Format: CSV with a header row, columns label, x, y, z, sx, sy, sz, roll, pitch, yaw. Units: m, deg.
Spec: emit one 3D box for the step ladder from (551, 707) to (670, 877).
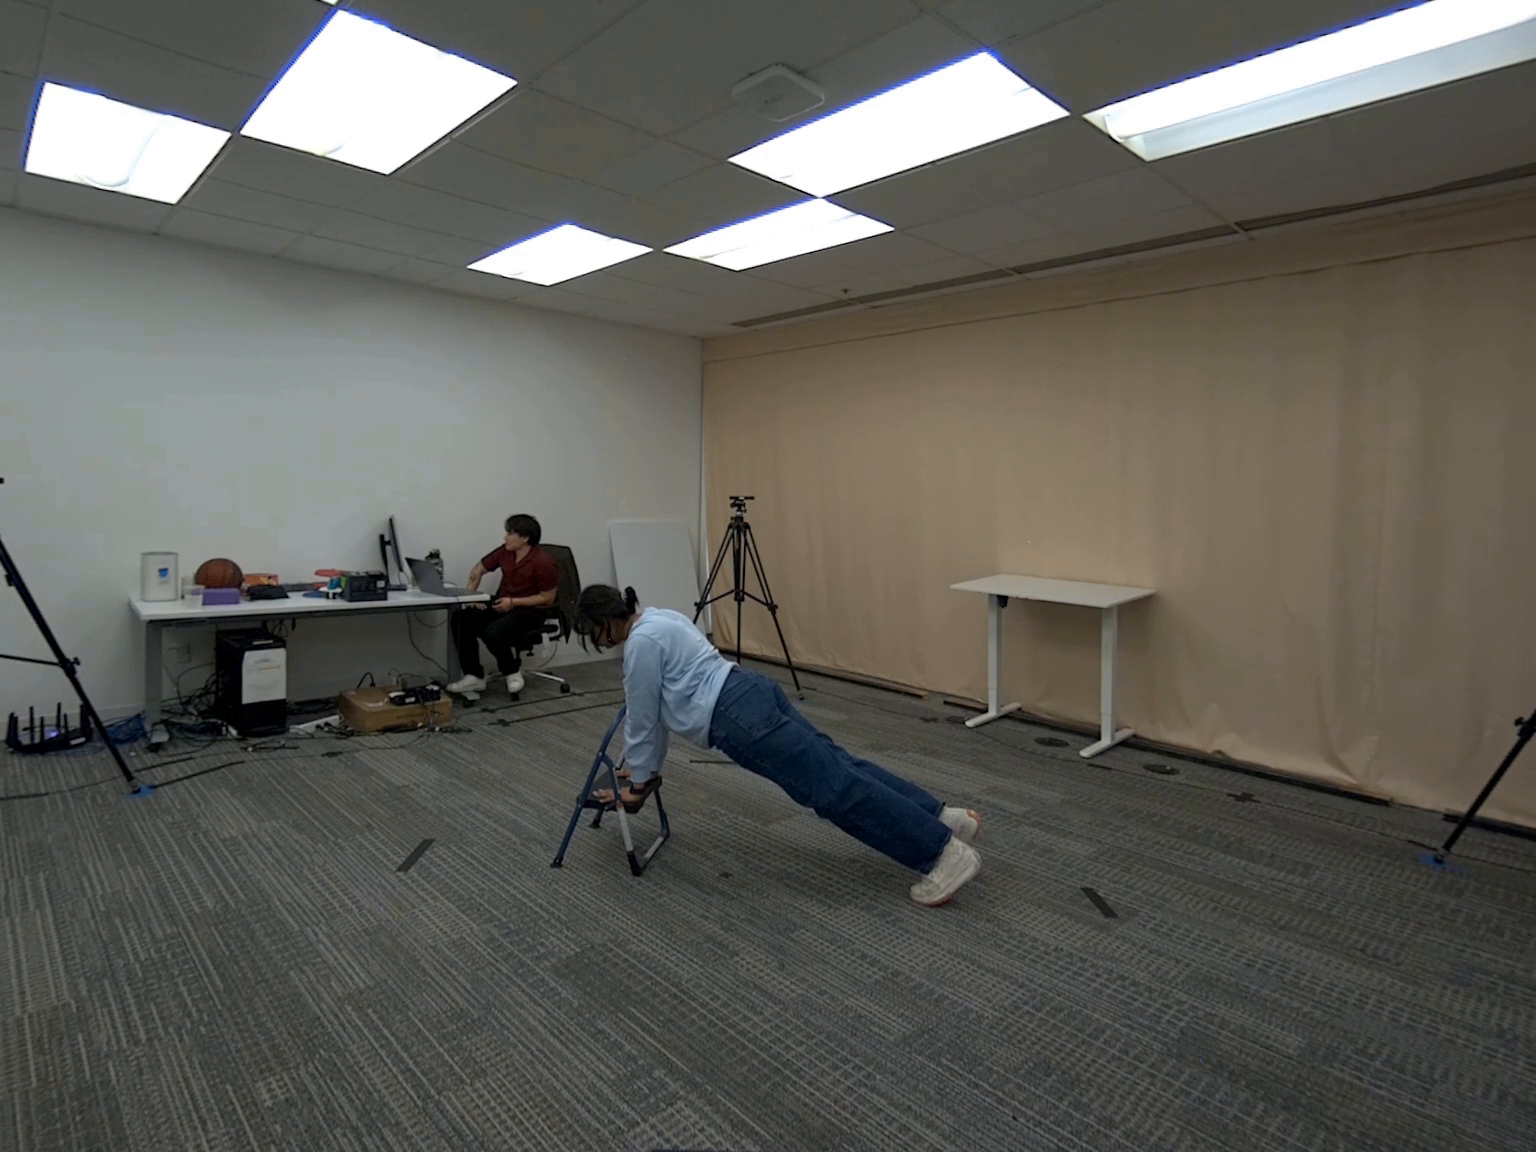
label,x,y,z,sx,sy,sz,roll,pitch,yaw
step ladder,-0.603,0.773,3.289,0.352,0.604,0.428,2,4,10
